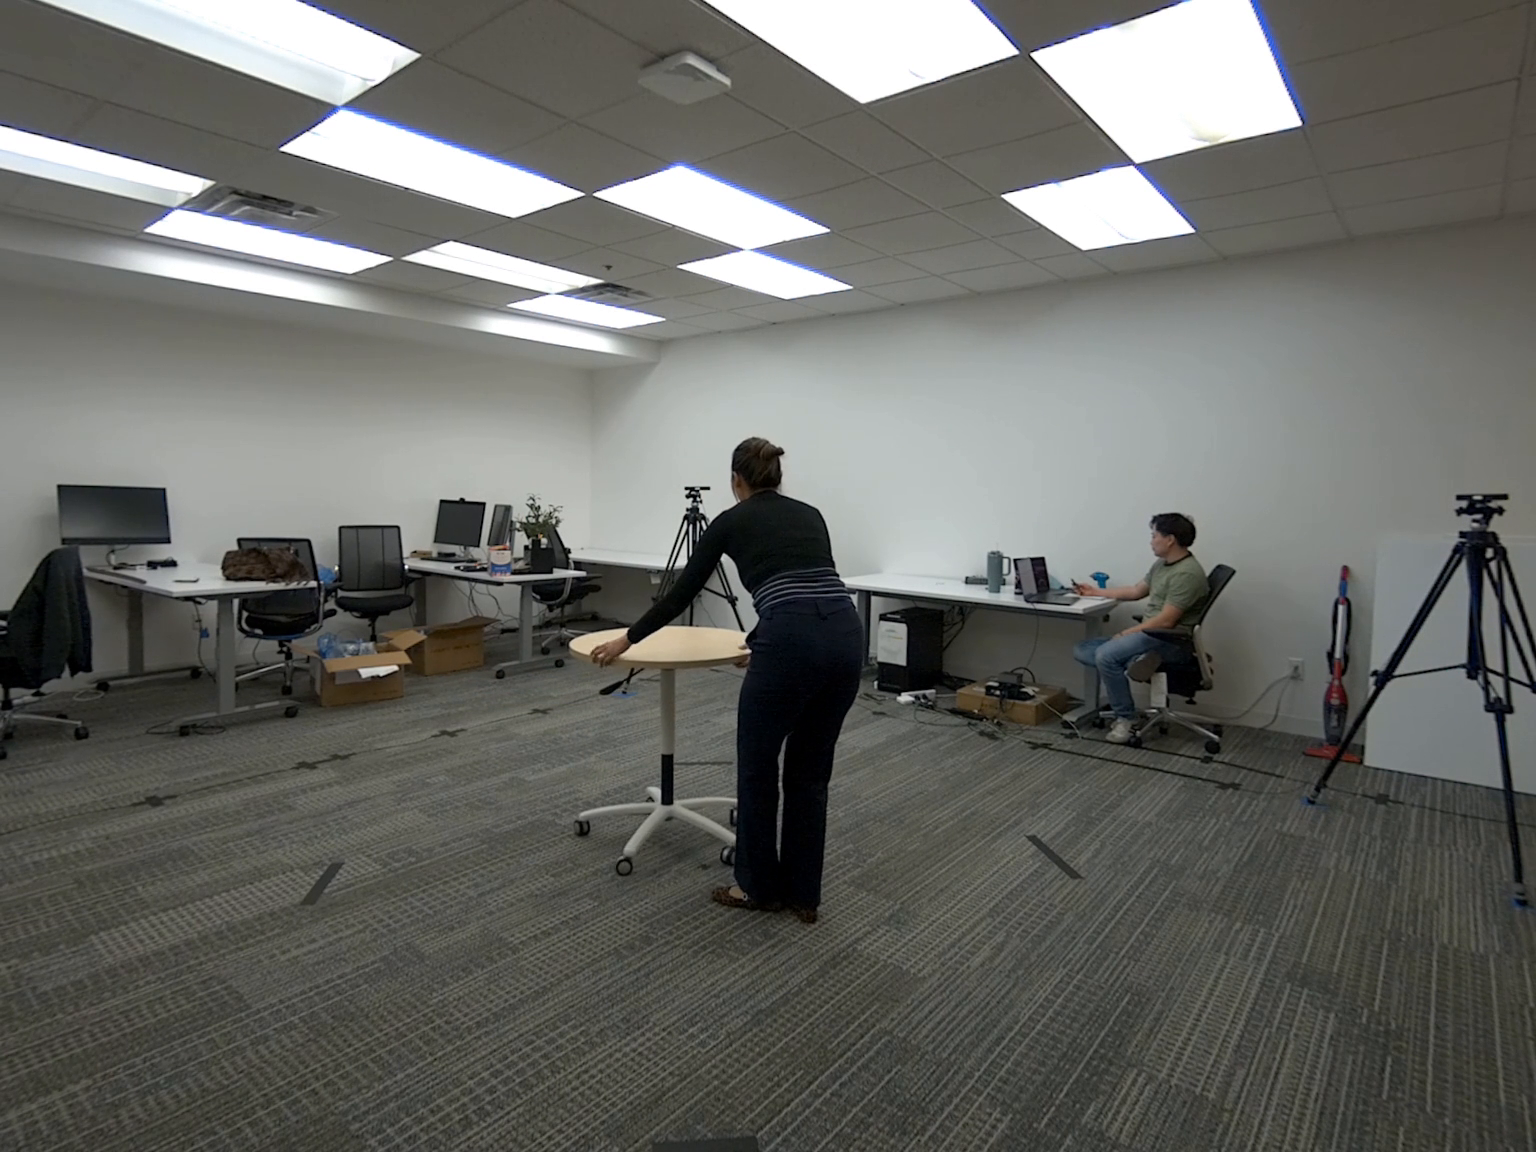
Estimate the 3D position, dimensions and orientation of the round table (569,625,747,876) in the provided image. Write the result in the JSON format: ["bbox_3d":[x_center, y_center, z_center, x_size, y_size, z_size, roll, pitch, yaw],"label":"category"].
[{"bbox_3d":[-0.416,0.649,3.347,0.763,0.792,0.767,0,4,-2],"label":"round table"}]
